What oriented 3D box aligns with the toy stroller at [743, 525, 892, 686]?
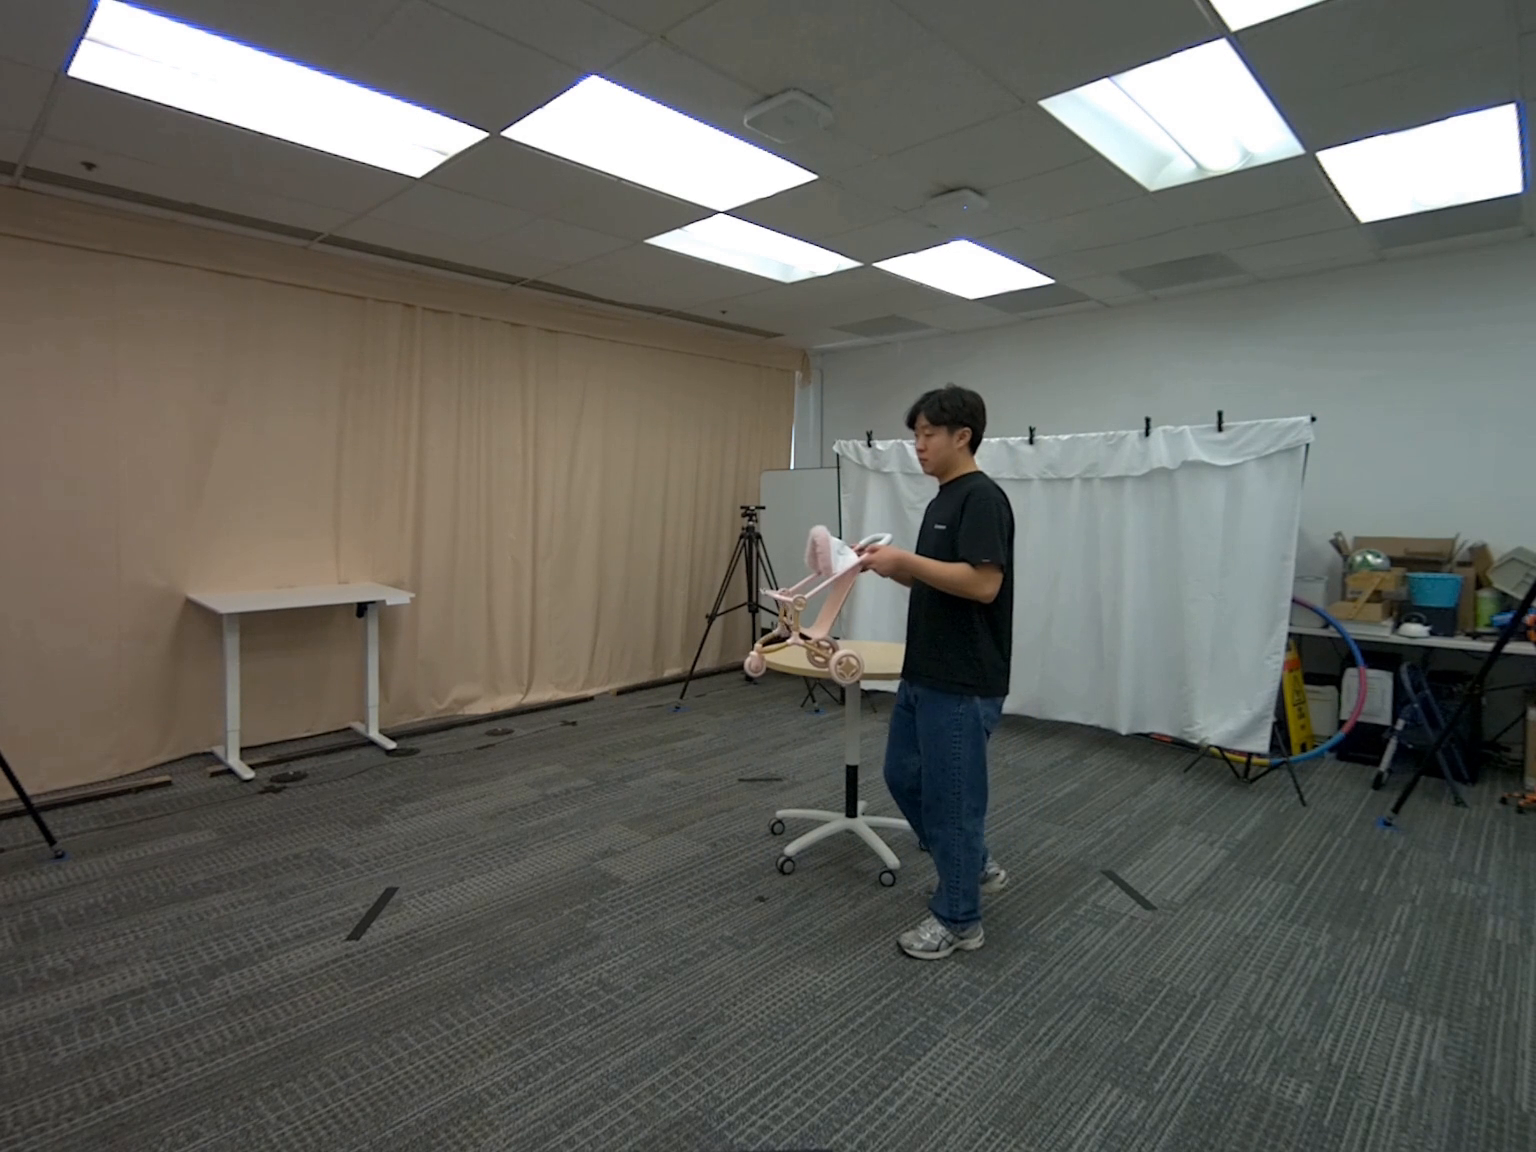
[{"bbox_3d":[0.148,0.088,2.623,0.339,0.534,0.283,15,2,-6],"label":"toy stroller"}]
